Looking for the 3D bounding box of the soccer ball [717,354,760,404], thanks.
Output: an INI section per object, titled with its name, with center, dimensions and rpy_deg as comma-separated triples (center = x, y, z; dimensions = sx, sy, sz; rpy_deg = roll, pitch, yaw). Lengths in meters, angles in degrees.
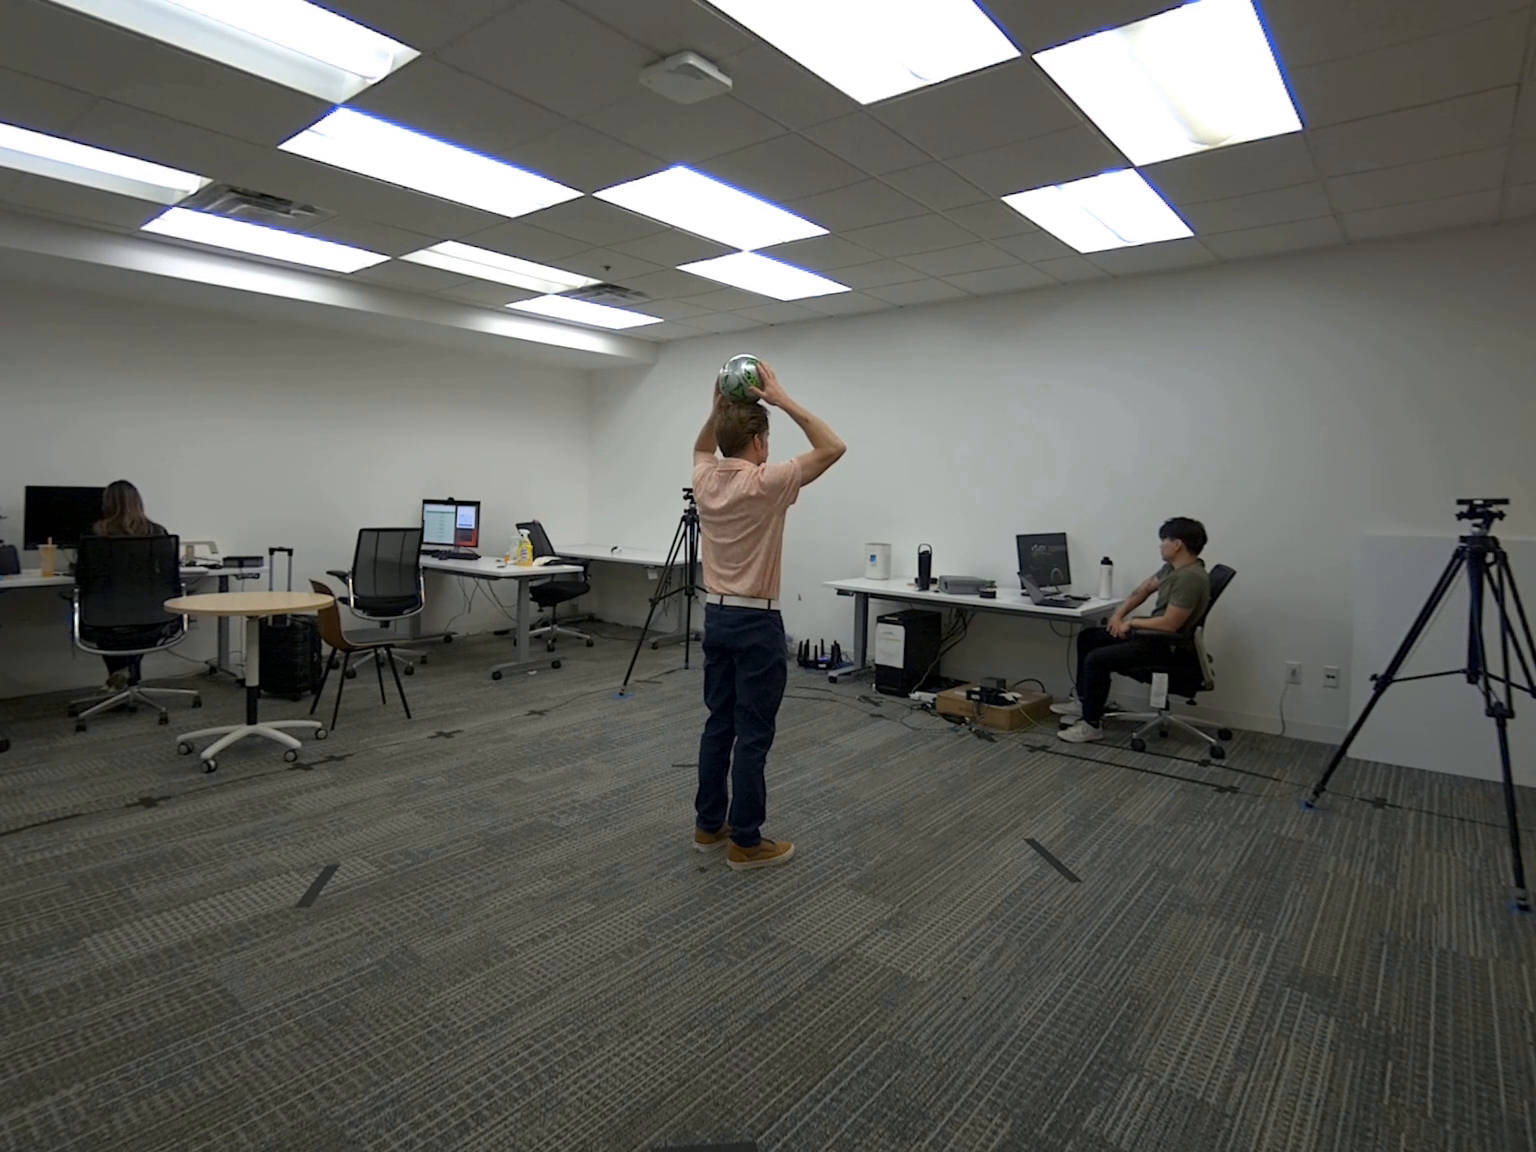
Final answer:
[soccer ball]
center = -0.107, -0.727, 3.181
dimensions = 0.187, 0.187, 0.188
rpy_deg = 1, 4, -2
